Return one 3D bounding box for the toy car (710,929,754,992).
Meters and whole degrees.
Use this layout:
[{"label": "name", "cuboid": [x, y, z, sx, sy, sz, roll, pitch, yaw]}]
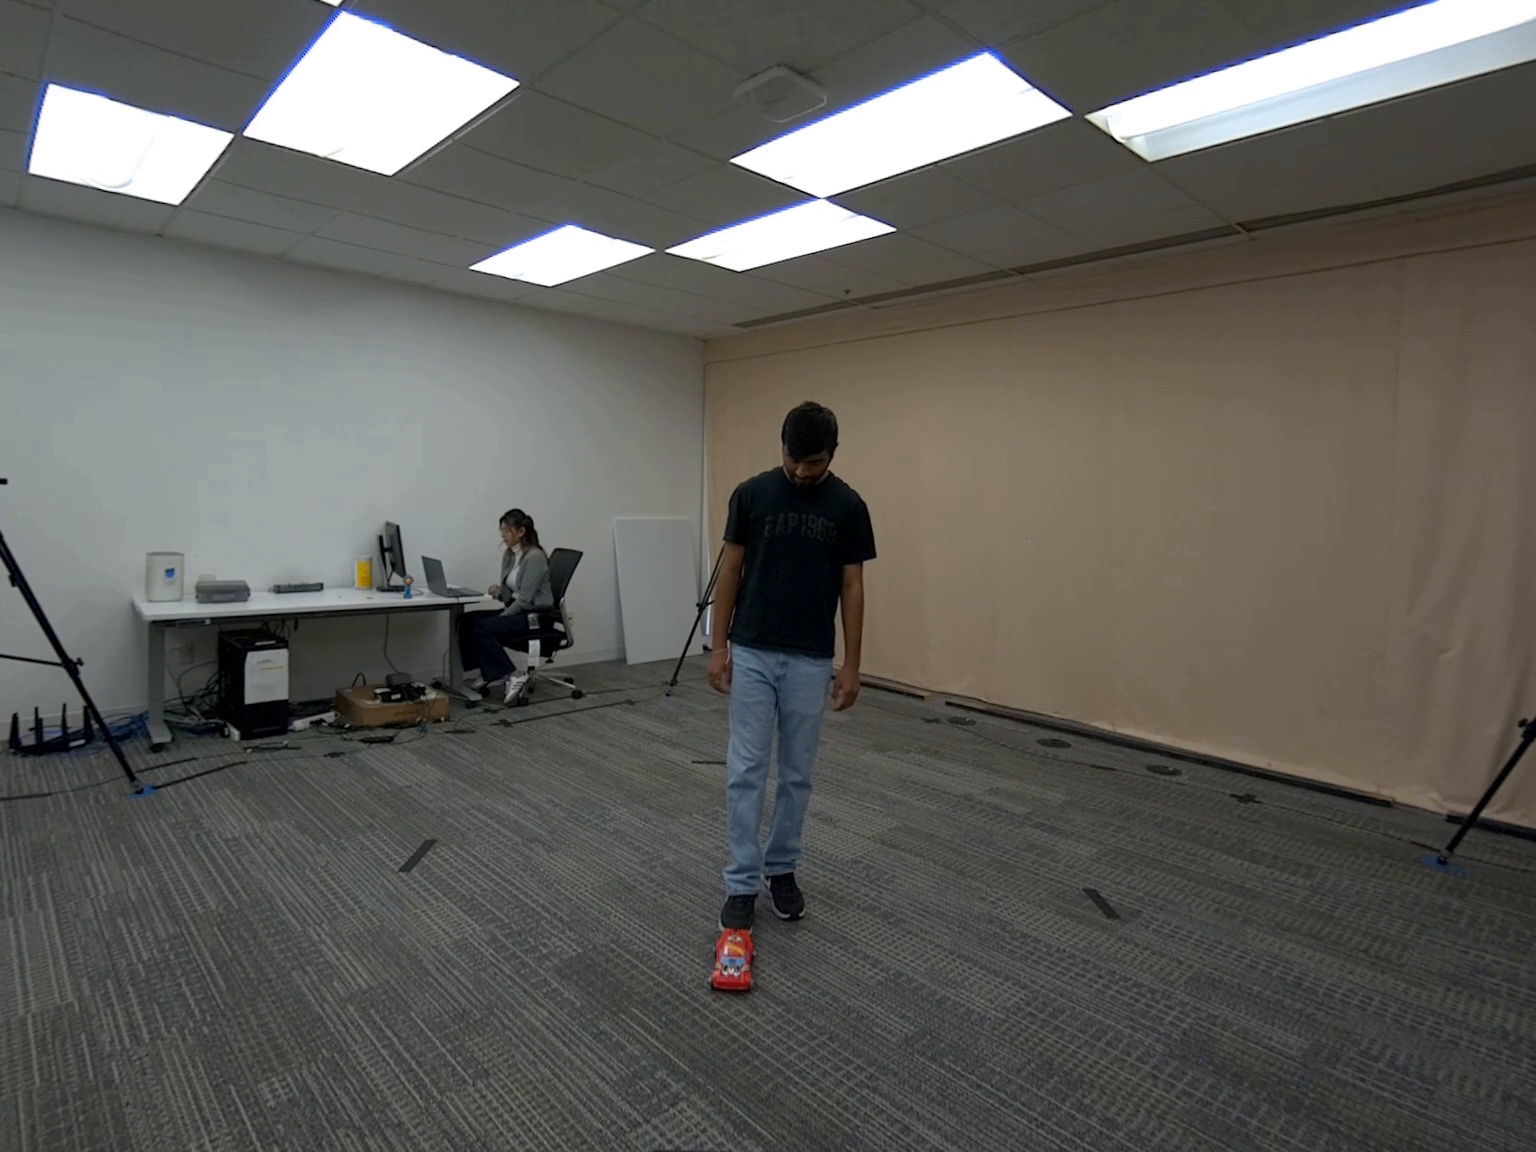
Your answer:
[{"label": "toy car", "cuboid": [-0.115, 1.133, 2.473, 0.130, 0.082, 0.257, 2, 18, 2]}]
